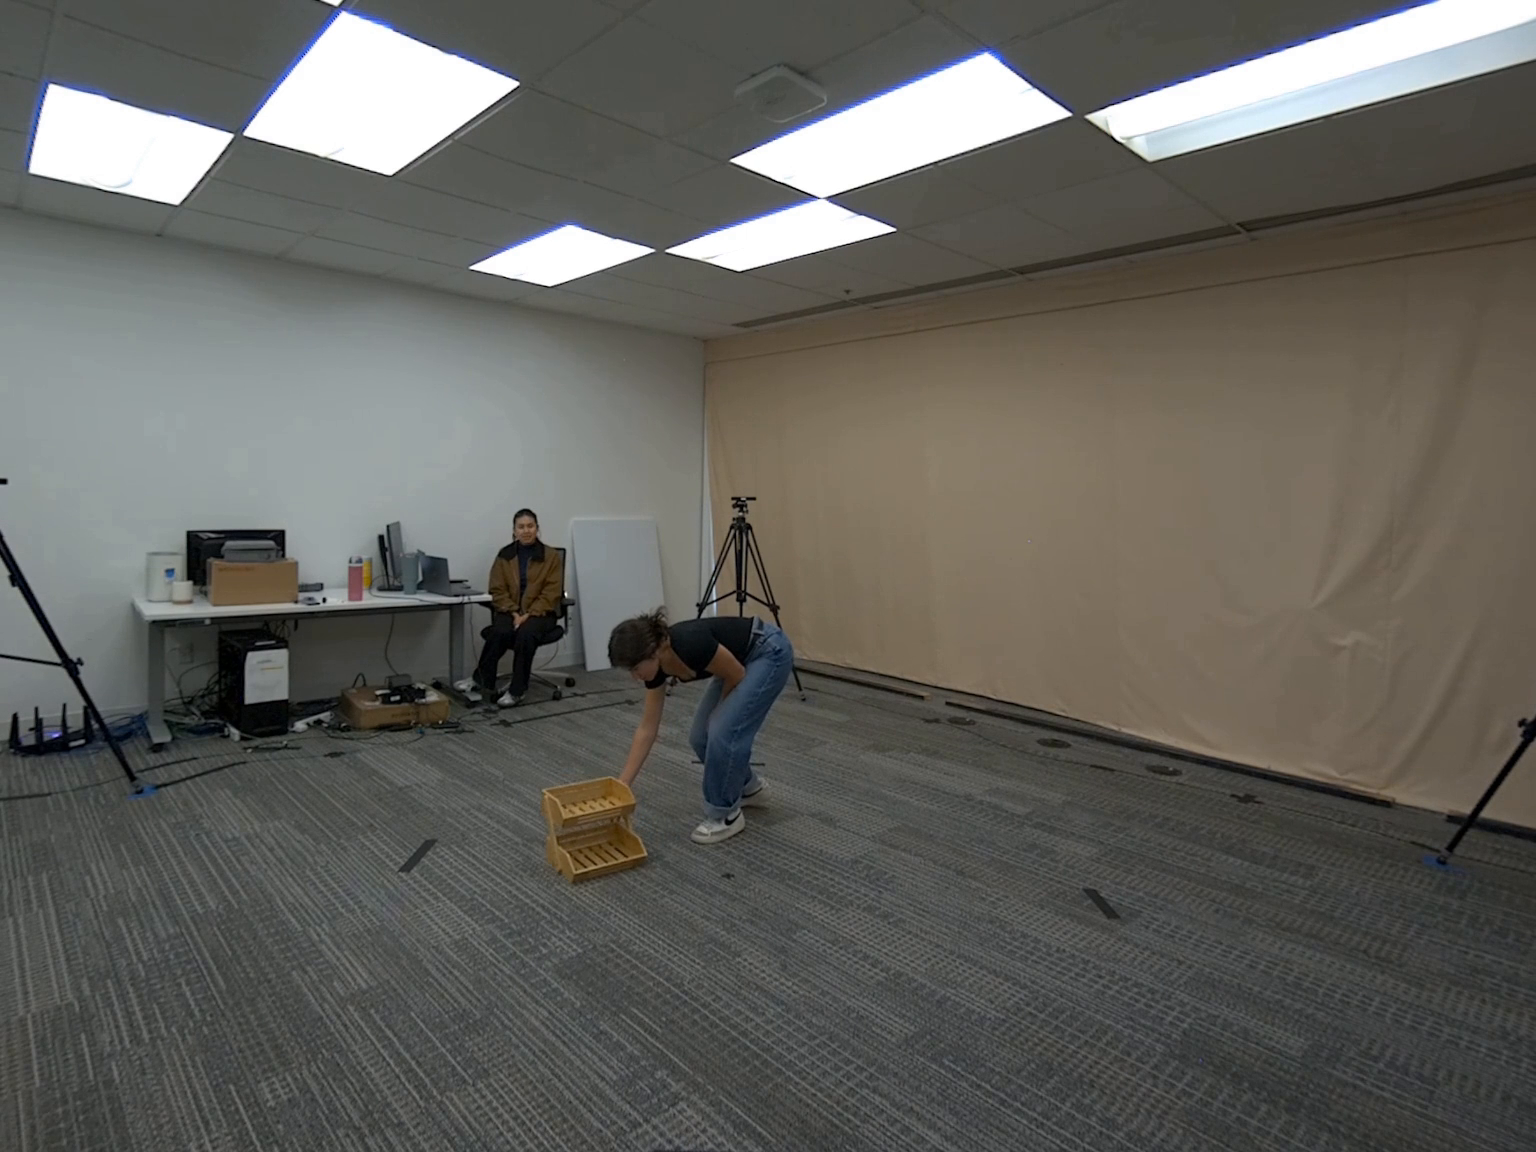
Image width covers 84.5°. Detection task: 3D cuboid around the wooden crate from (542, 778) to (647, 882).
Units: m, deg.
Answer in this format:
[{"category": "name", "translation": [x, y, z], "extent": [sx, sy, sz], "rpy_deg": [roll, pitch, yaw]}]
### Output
[{"category": "wooden crate", "translation": [-0.667, 0.953, 3.192], "extent": [0.317, 0.273, 0.309], "rpy_deg": [-1, 5, -37]}]
